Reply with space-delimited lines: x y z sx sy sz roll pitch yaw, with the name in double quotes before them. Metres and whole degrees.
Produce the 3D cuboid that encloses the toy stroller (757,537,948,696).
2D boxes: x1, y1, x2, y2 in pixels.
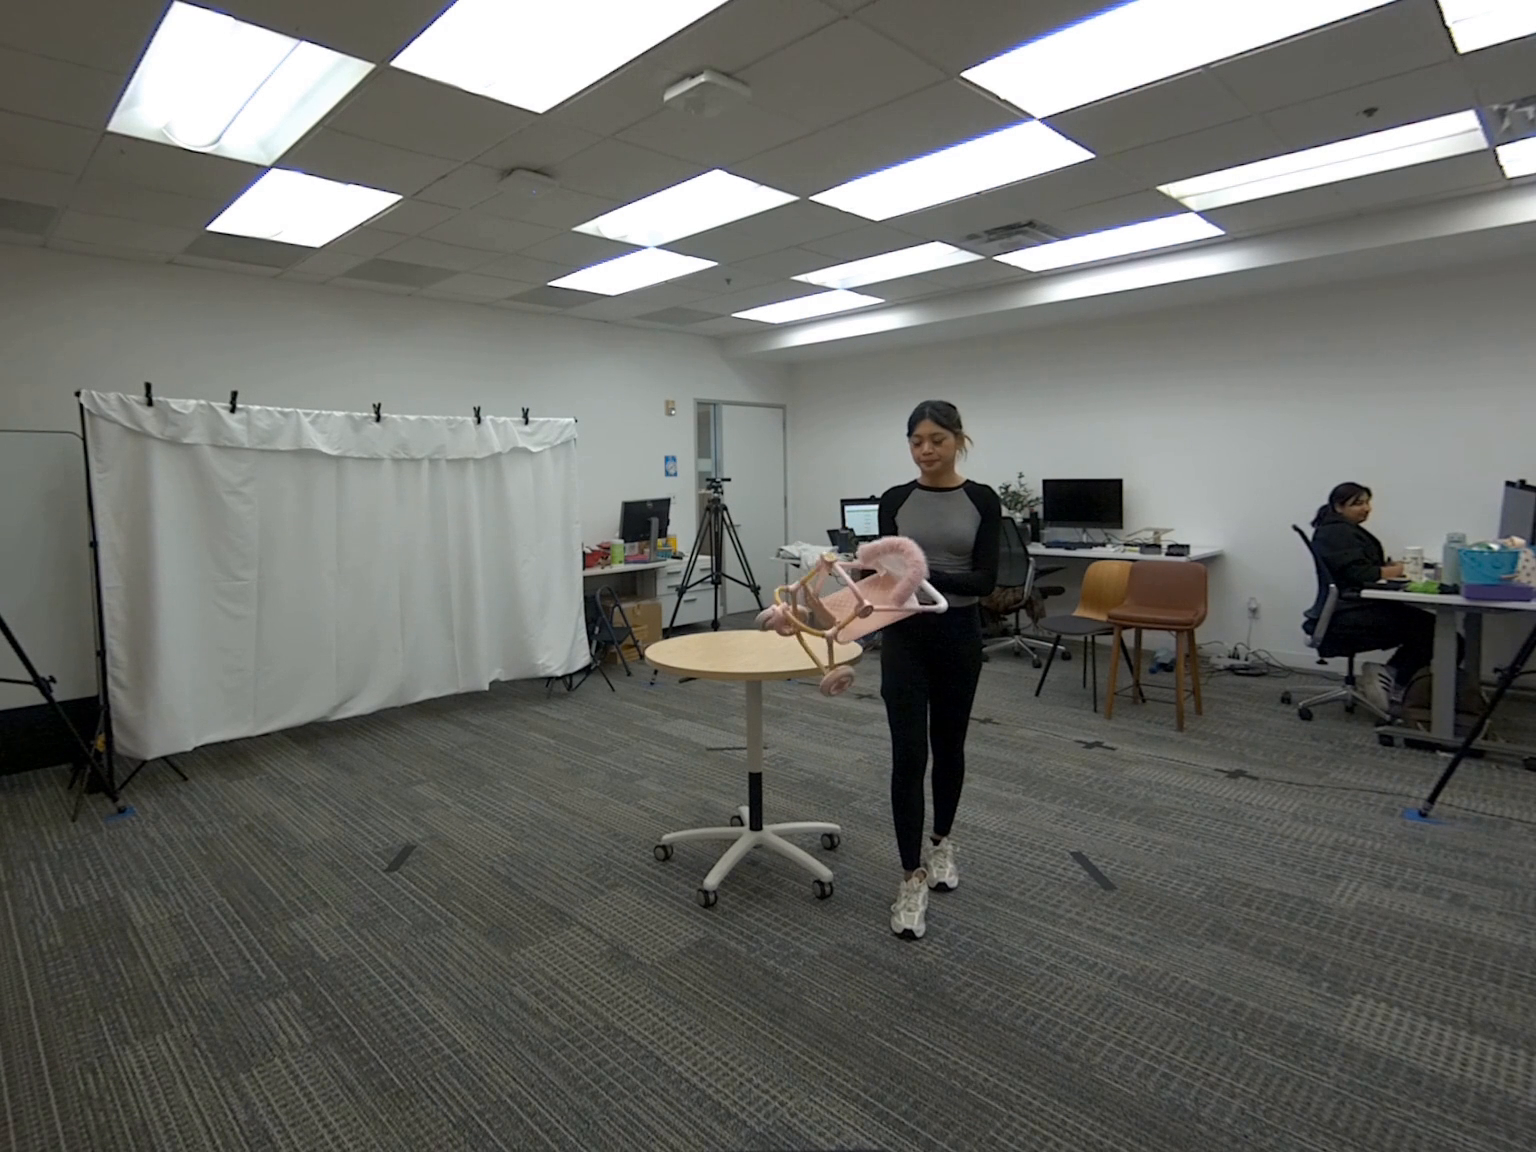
"toy stroller" 0.231 0.068 2.345 0.533 0.329 0.292 -31 47 -7
